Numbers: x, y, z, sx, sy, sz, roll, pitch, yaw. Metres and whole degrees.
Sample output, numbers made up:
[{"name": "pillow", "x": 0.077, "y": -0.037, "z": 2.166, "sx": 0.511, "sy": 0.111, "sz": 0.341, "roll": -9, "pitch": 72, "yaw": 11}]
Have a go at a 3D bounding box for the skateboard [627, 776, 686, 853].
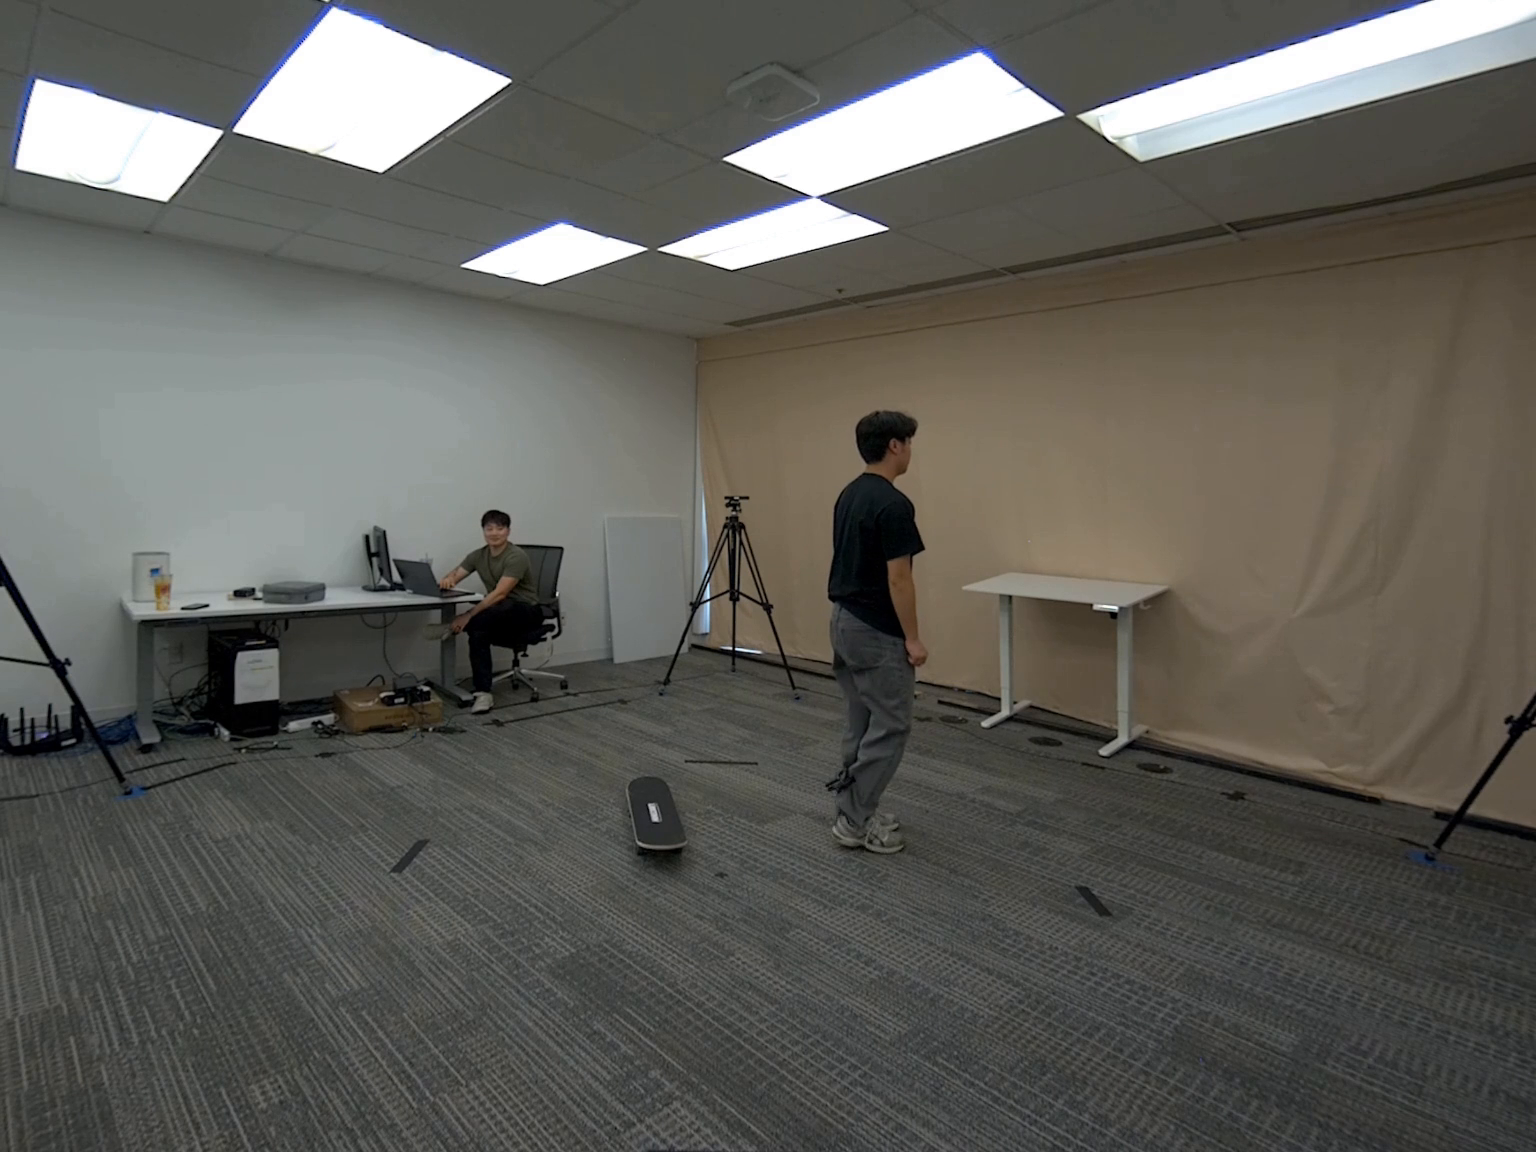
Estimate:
[{"name": "skateboard", "x": -0.474, "y": 1.007, "z": 3.474, "sx": 0.192, "sy": 0.110, "sz": 0.795, "roll": 1, "pitch": 5, "yaw": -12}]
